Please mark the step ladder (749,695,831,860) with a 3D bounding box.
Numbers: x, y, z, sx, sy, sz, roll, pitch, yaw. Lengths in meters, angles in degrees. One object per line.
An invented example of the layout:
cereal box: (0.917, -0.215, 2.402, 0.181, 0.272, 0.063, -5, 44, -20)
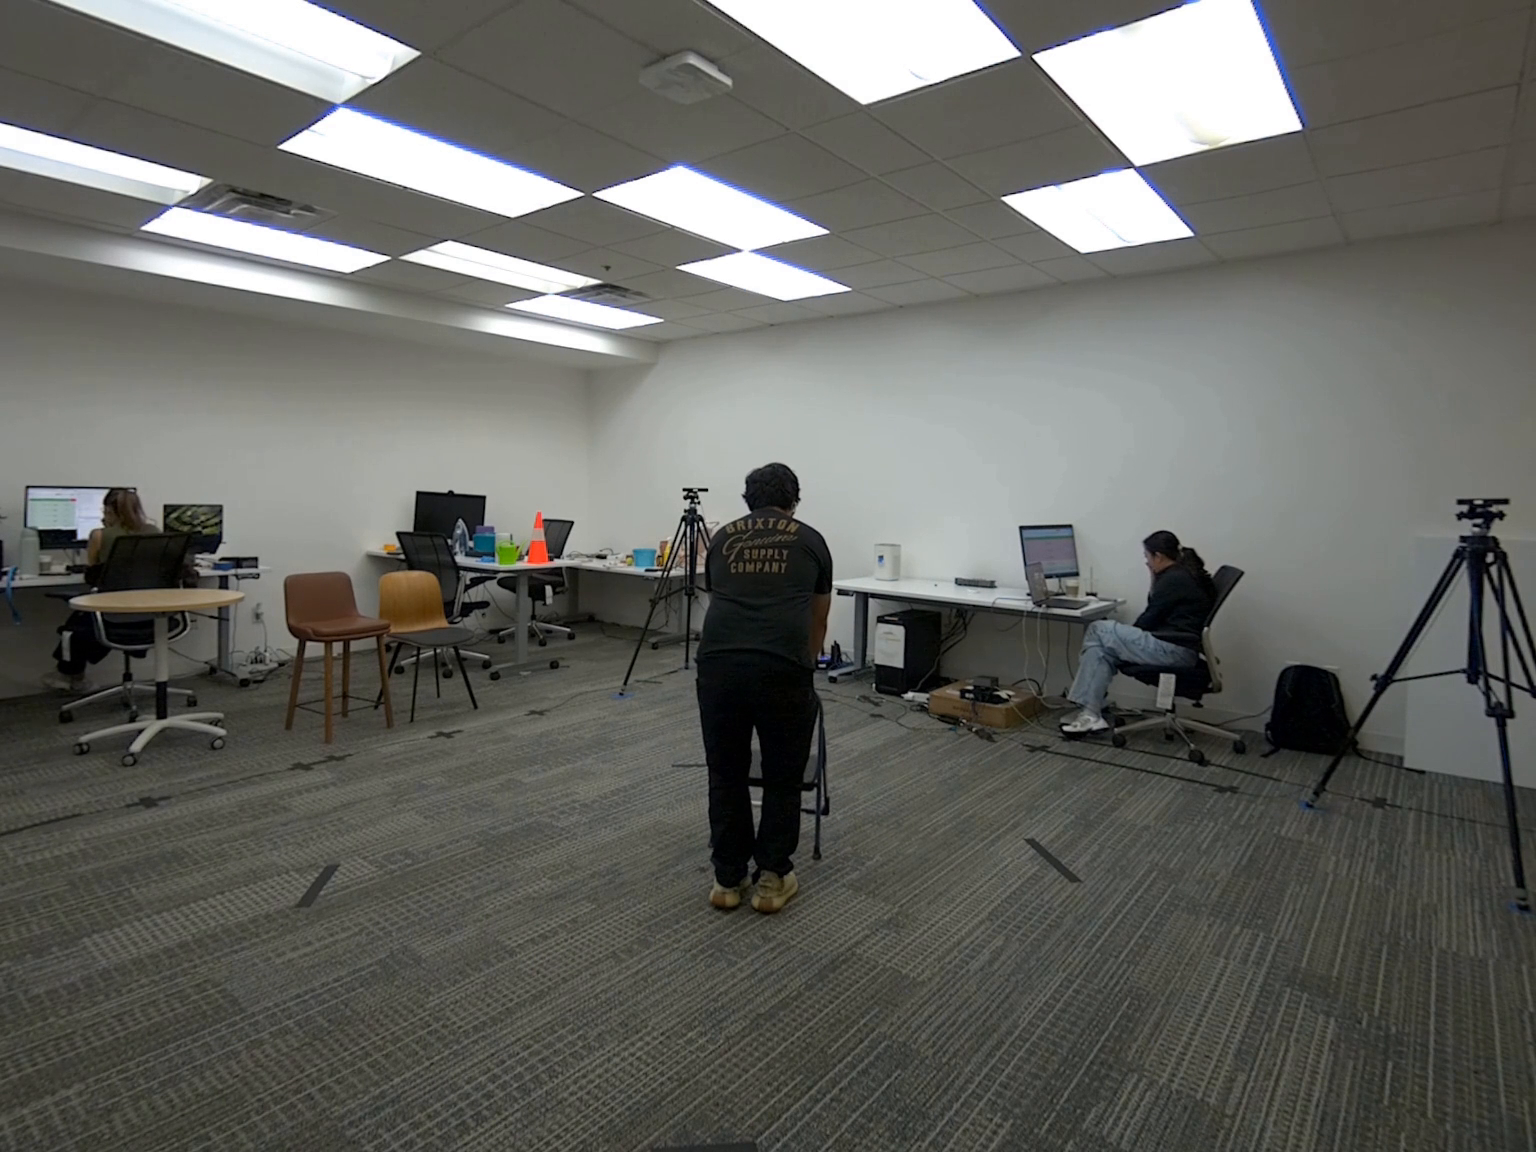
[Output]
step ladder: (0.006, 0.694, 3.274, 0.437, 0.599, 0.348, 2, 12, 13)
